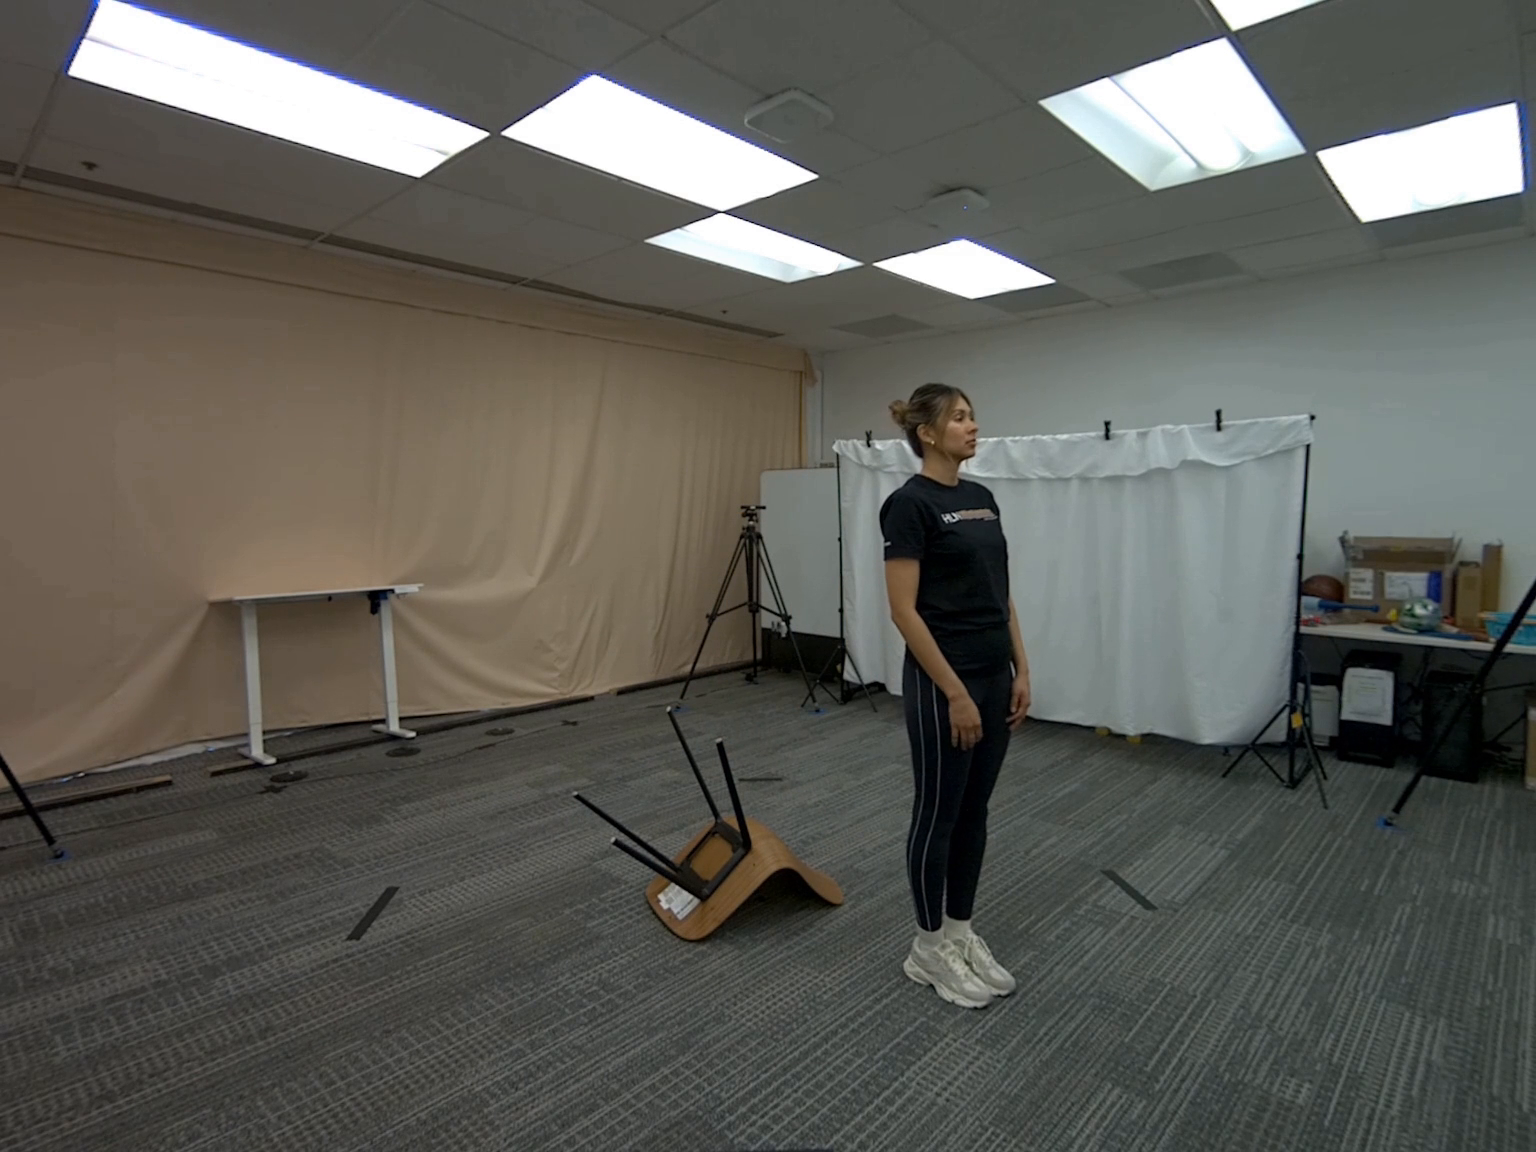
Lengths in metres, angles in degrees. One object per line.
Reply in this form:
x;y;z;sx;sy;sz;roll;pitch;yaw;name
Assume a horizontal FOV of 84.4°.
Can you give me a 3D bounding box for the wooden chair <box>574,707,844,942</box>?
-0.196;0.977;2.918;0.520;0.859;0.491;-44;21;-17;wooden chair
